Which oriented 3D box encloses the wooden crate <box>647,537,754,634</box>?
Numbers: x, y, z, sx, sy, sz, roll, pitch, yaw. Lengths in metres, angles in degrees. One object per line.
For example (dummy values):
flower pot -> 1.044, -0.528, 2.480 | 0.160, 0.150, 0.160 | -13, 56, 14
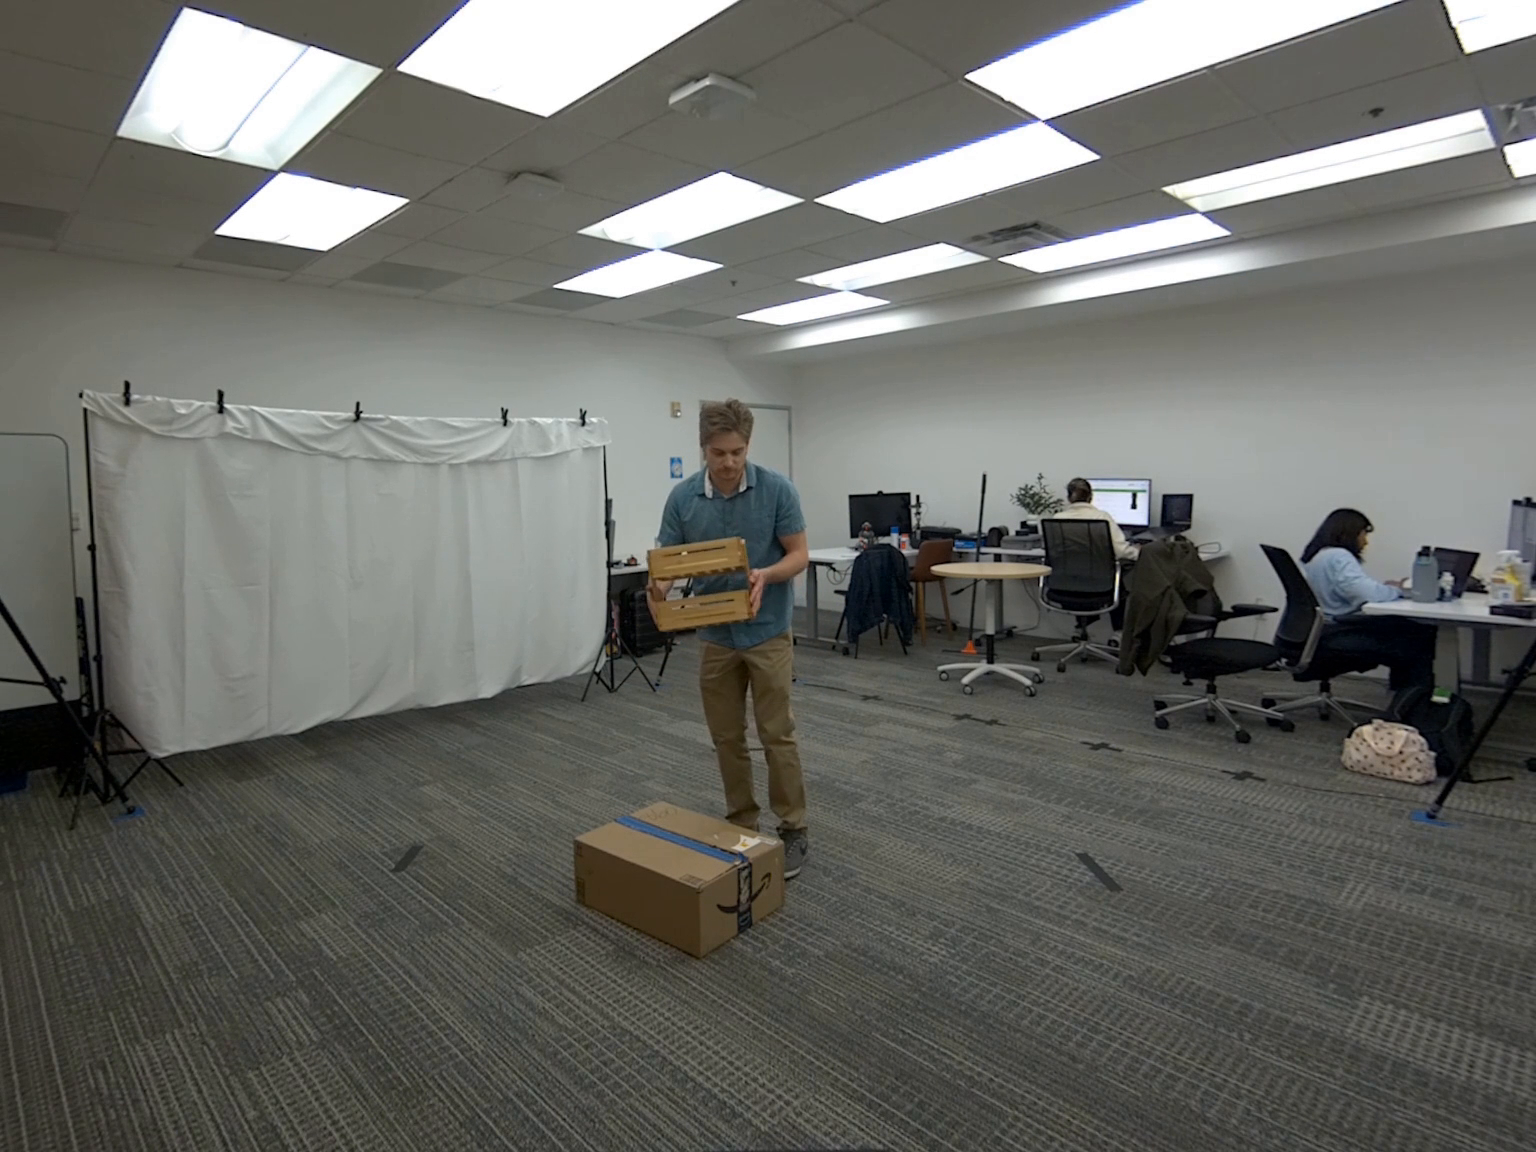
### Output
wooden crate -> -0.221, 0.028, 2.867 | 0.326, 0.275, 0.299 | -8, -5, 4
